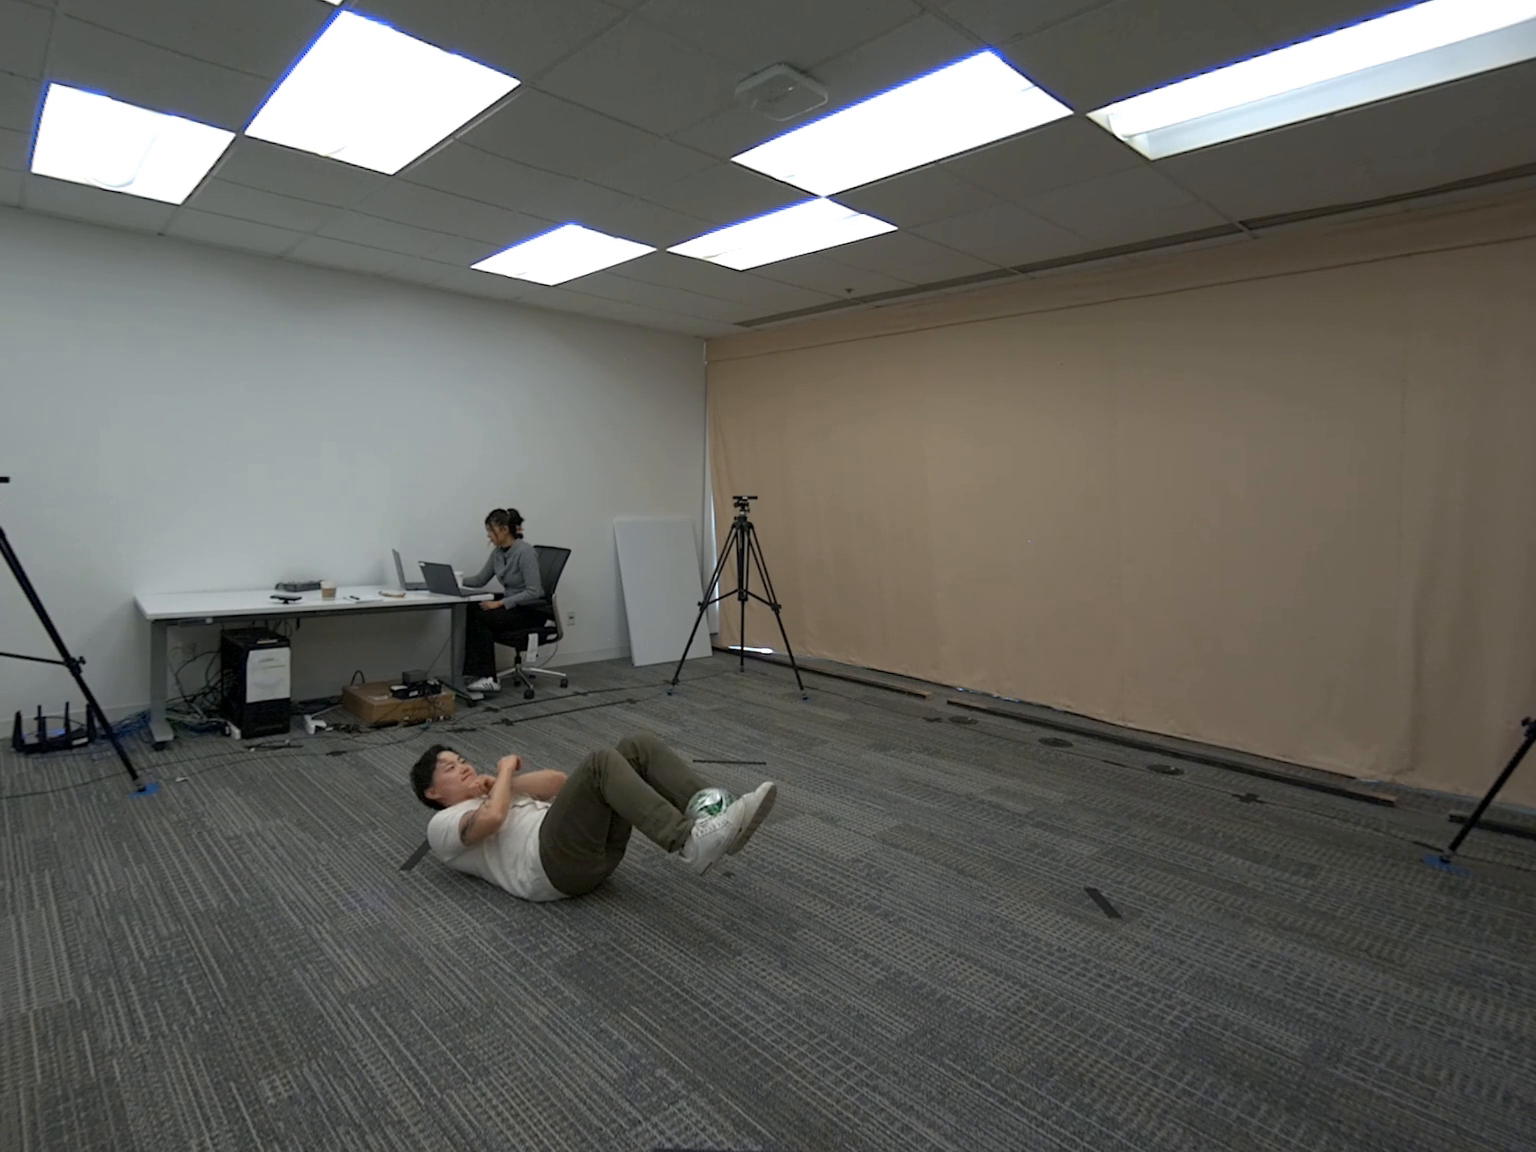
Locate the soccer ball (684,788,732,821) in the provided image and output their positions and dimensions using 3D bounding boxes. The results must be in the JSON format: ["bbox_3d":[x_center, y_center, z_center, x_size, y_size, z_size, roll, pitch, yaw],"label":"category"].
[{"bbox_3d":[-0.183,0.797,2.719,0.187,0.187,0.188,1,4,-1],"label":"soccer ball"}]
